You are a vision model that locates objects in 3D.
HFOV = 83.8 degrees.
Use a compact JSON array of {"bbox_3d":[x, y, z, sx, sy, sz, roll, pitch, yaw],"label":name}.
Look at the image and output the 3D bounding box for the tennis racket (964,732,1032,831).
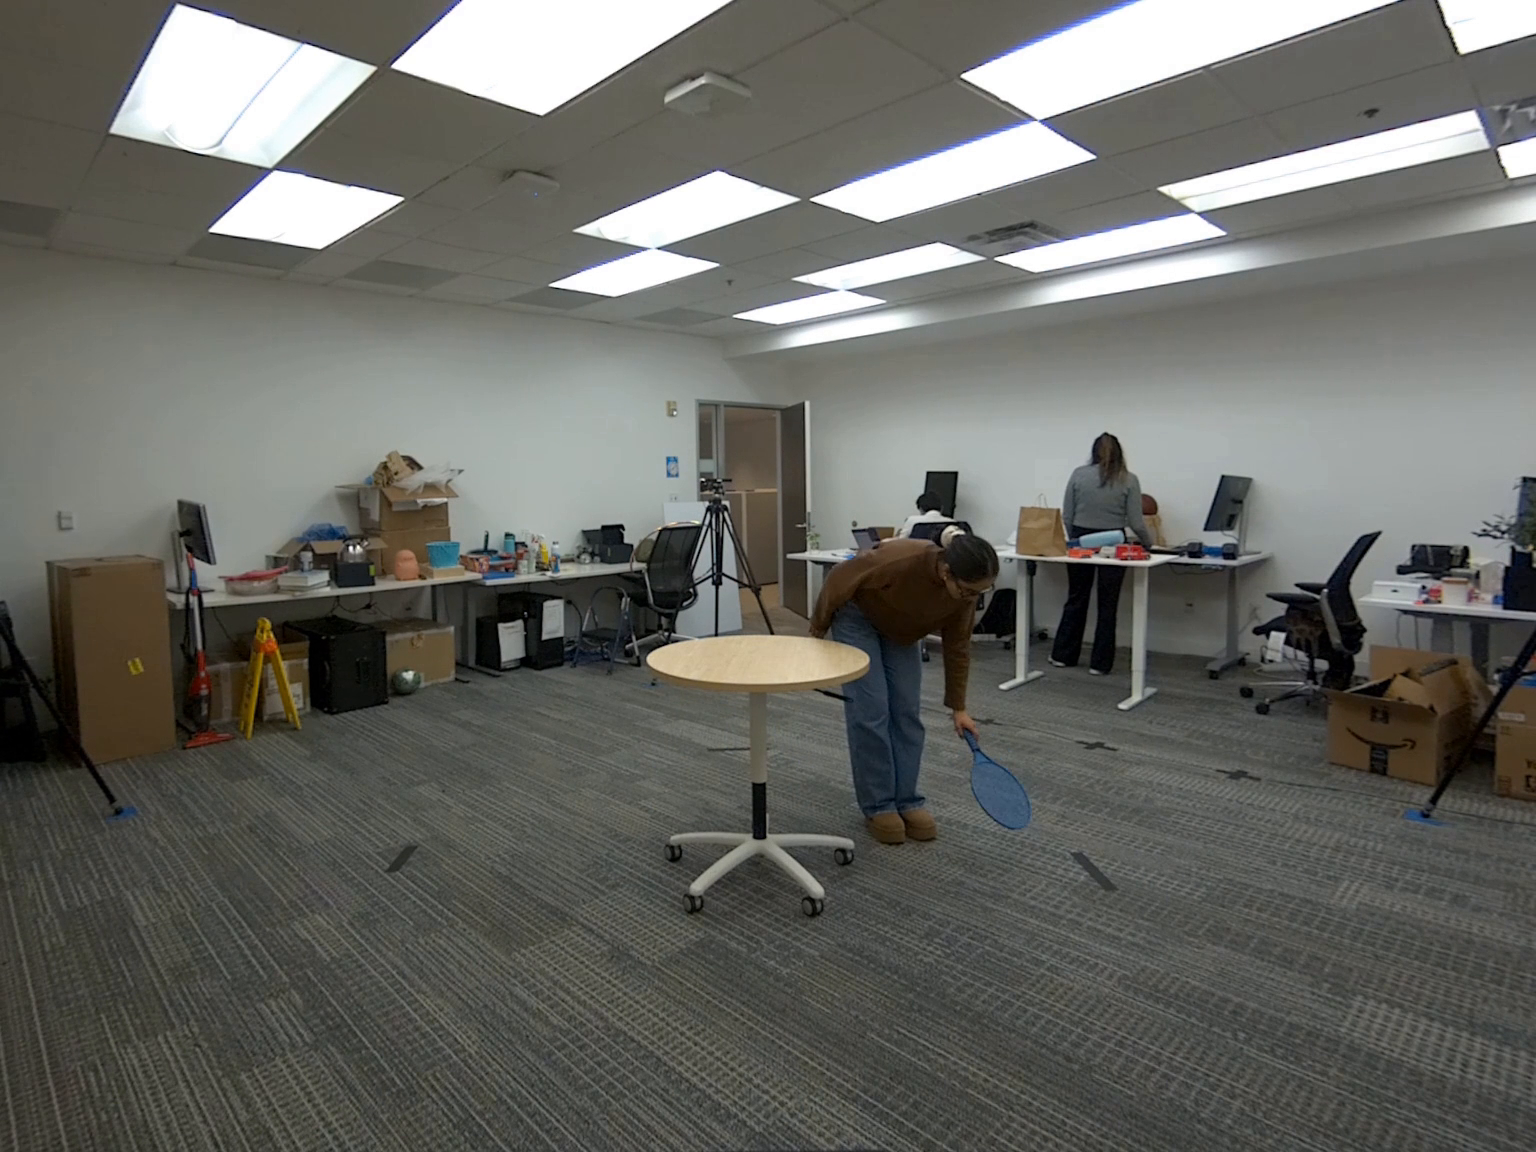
[{"bbox_3d":[0.796,0.711,3.129,0.210,0.031,0.449,-6,47,-22],"label":"tennis racket"}]
